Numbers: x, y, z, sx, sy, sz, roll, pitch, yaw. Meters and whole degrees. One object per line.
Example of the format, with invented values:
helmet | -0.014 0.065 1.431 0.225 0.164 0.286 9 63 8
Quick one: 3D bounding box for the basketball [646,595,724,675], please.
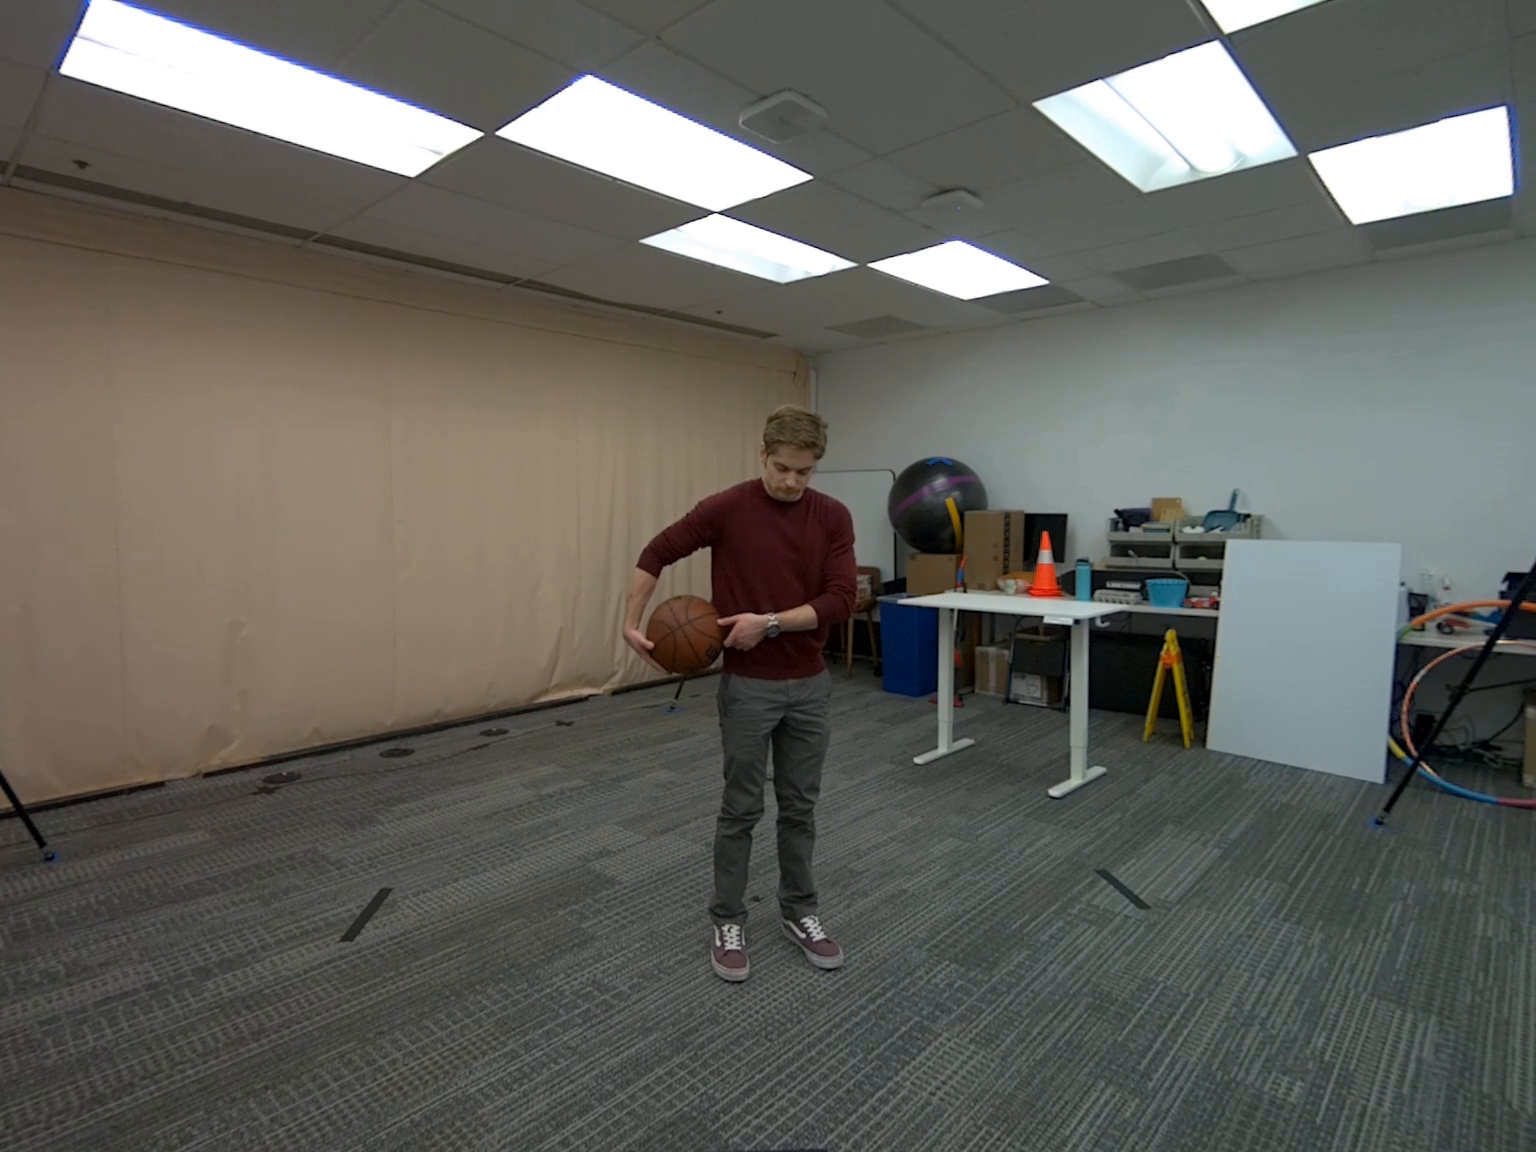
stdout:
basketball | -0.226 0.178 2.534 0.236 0.235 0.237 0 4 -2
